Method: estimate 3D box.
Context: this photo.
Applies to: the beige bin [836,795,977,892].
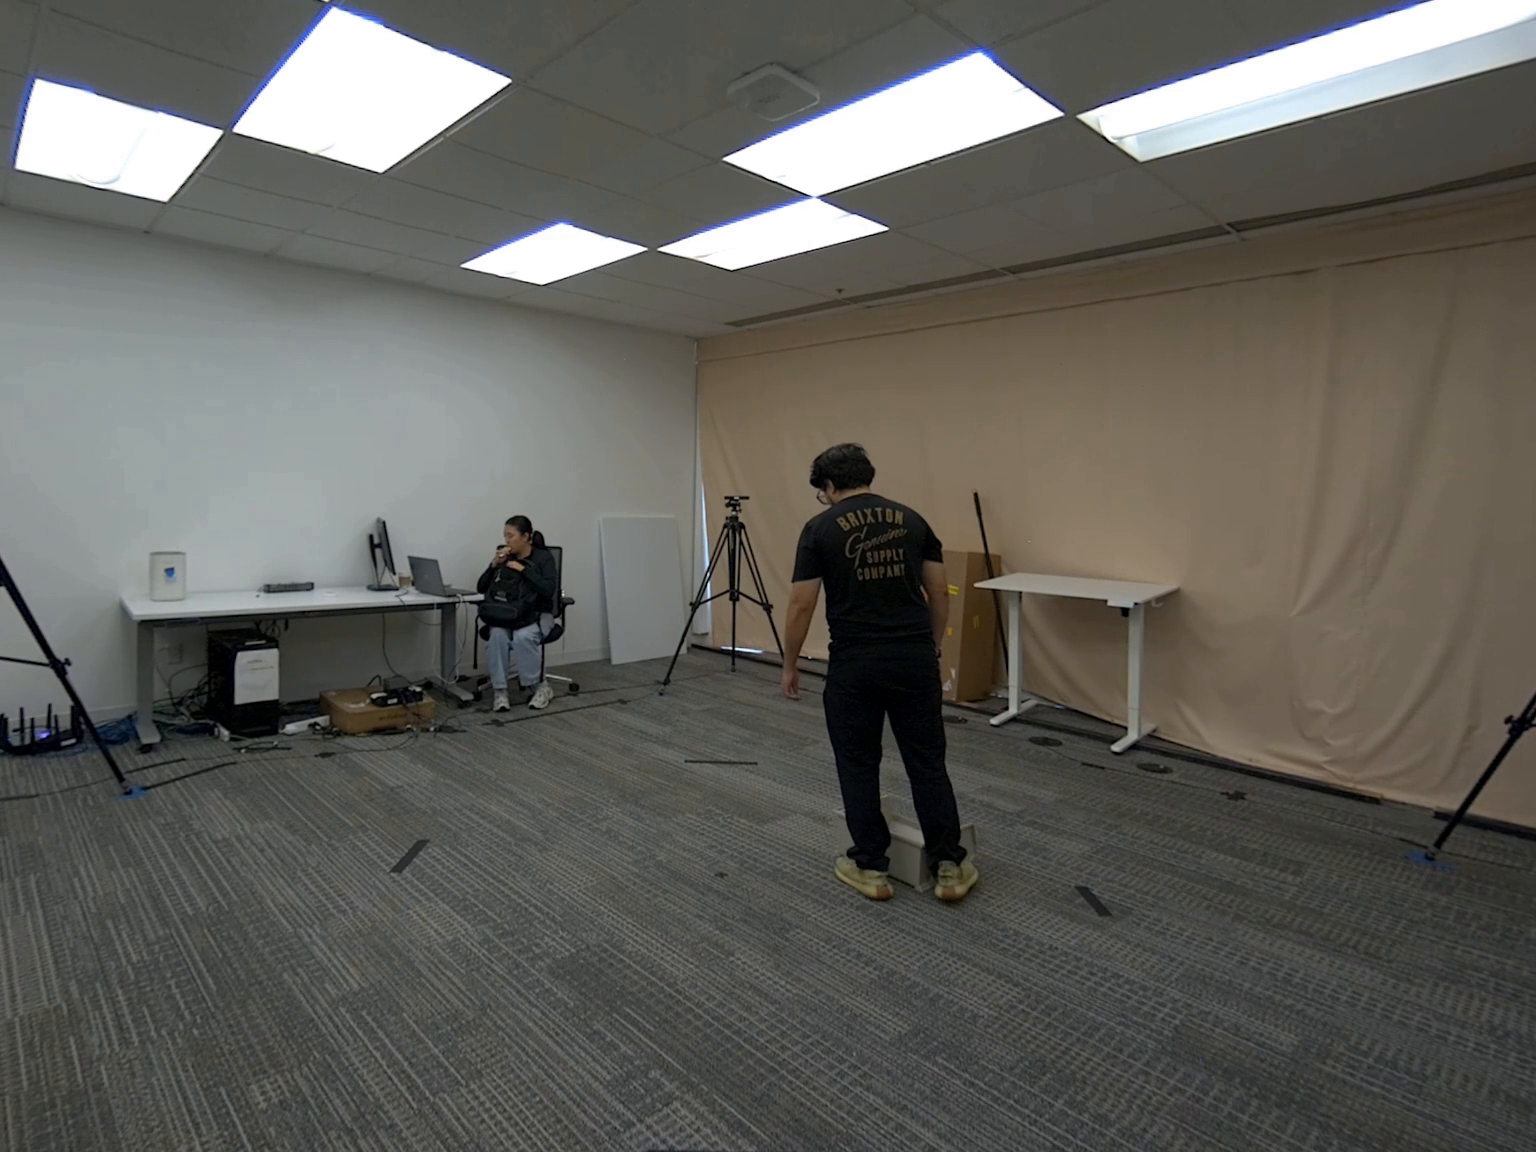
[{"bbox_3d":[0.521,1.013,3.271,0.369,0.188,0.433,-4,7,-43],"label":"beige bin"}]
